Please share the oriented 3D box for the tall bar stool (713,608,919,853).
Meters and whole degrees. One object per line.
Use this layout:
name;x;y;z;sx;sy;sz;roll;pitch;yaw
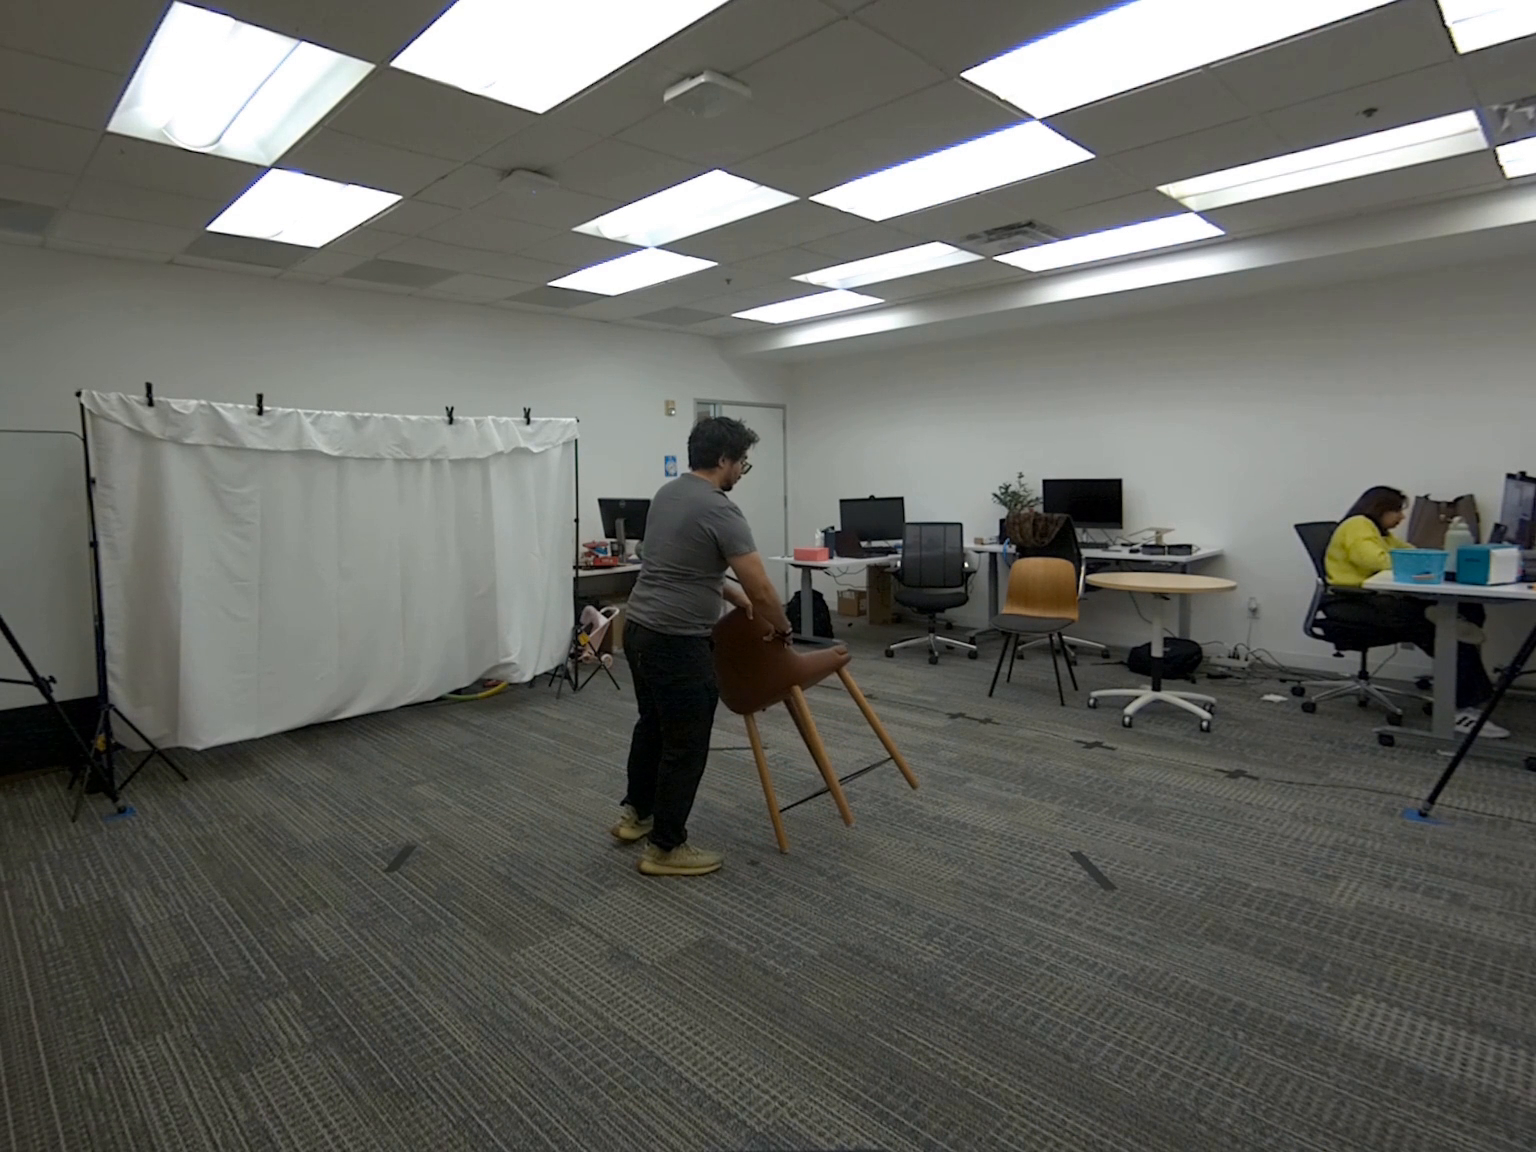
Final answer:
tall bar stool;0.127;0.544;3.354;0.457;0.906;0.459;-11;-21;-48
